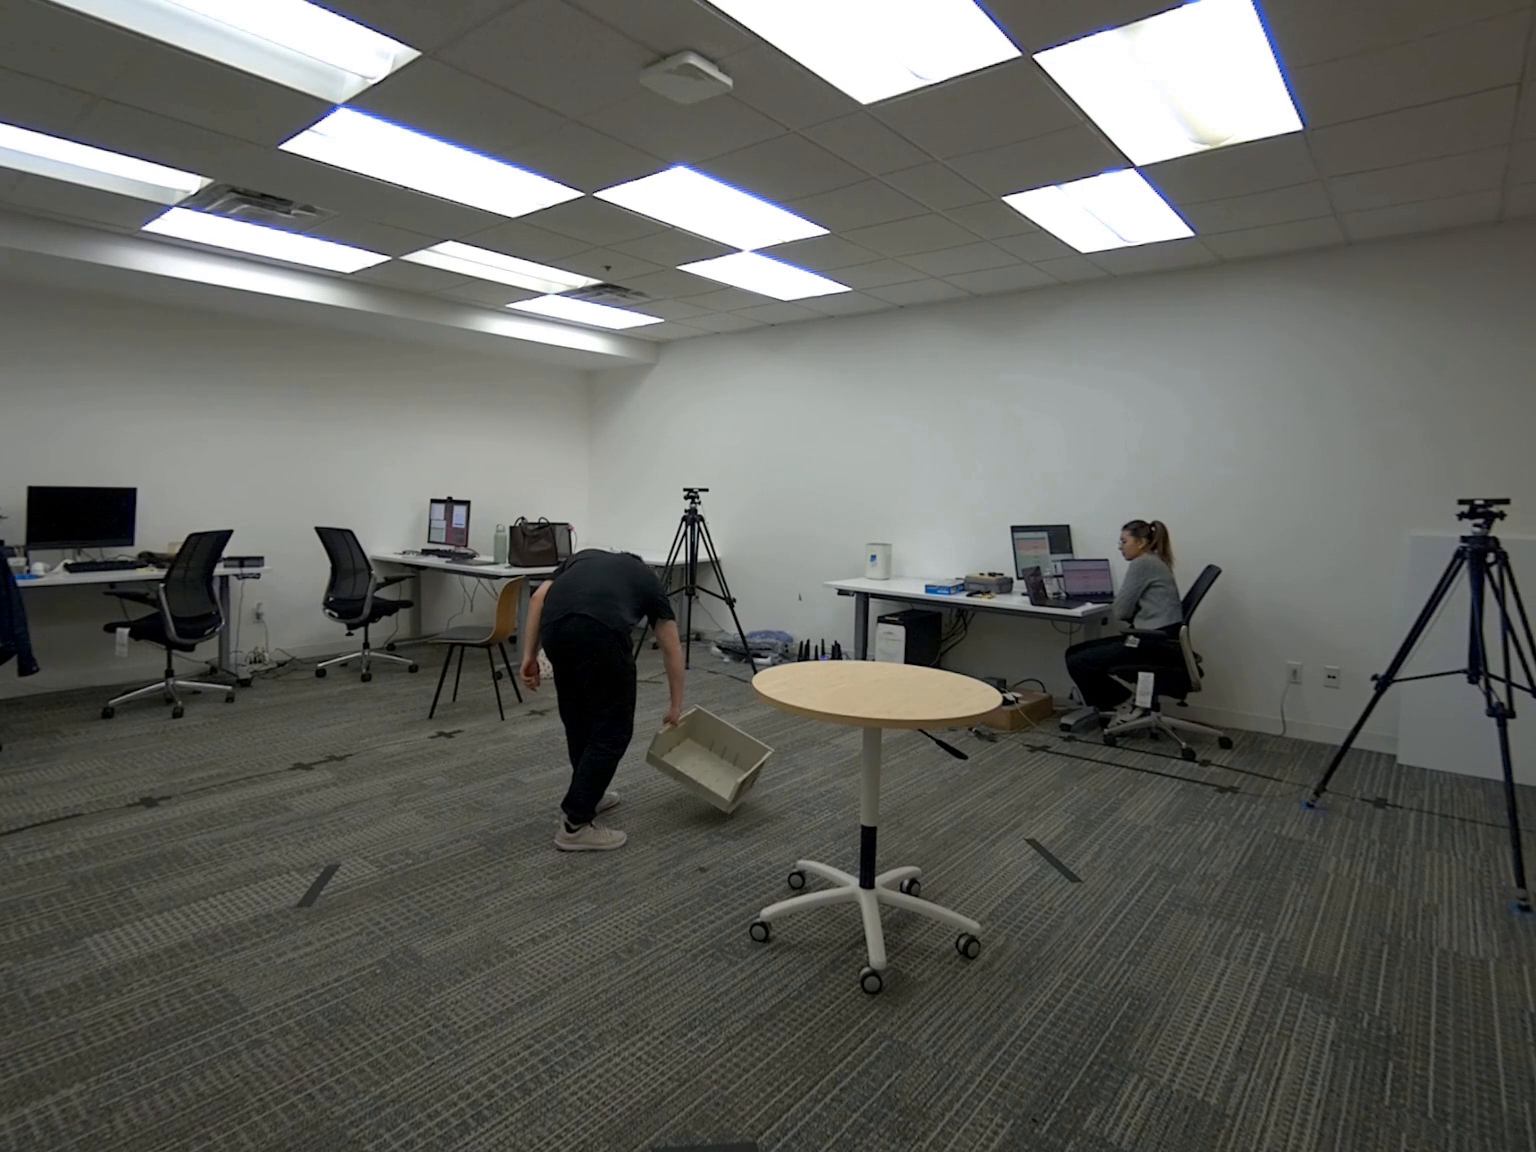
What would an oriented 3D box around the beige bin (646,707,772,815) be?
[{"bbox_3d":[-0.260,0.789,3.692,0.433,0.187,0.372,24,20,17],"label":"beige bin"}]
